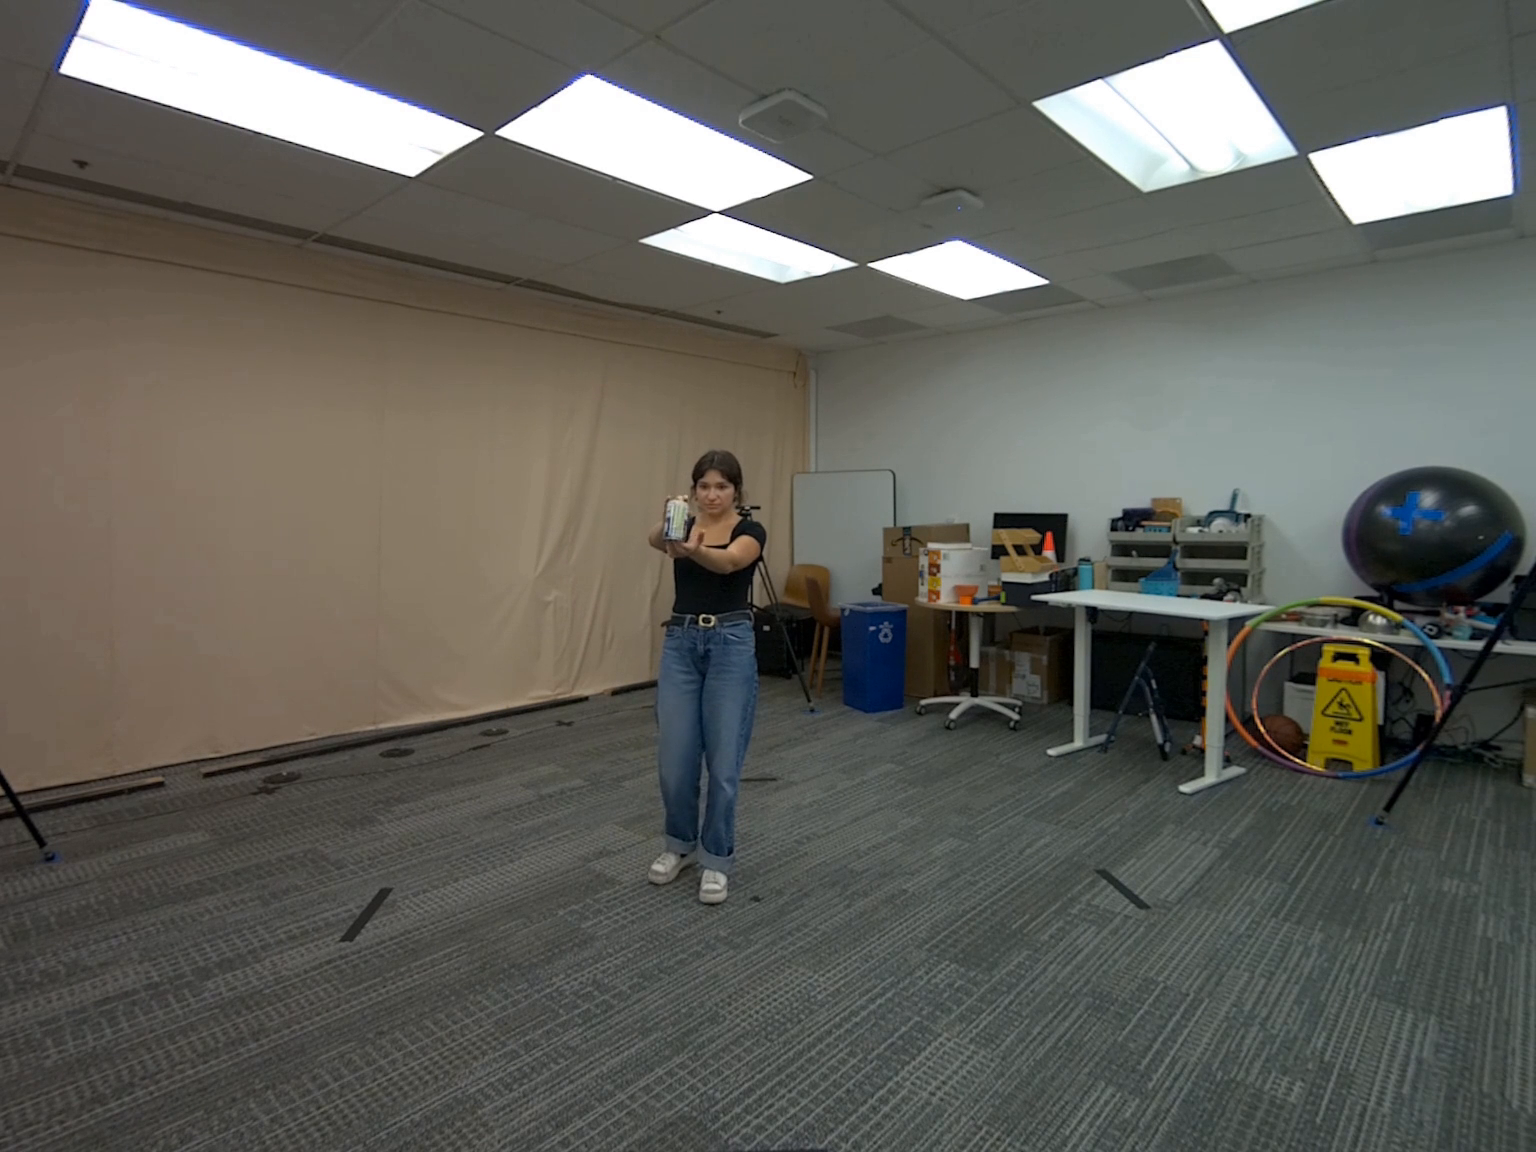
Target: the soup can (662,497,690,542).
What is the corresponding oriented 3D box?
[{"bbox_3d":[-0.275,-0.162,2.519,0.067,0.122,0.067,4,-9,-1],"label":"soup can"}]
